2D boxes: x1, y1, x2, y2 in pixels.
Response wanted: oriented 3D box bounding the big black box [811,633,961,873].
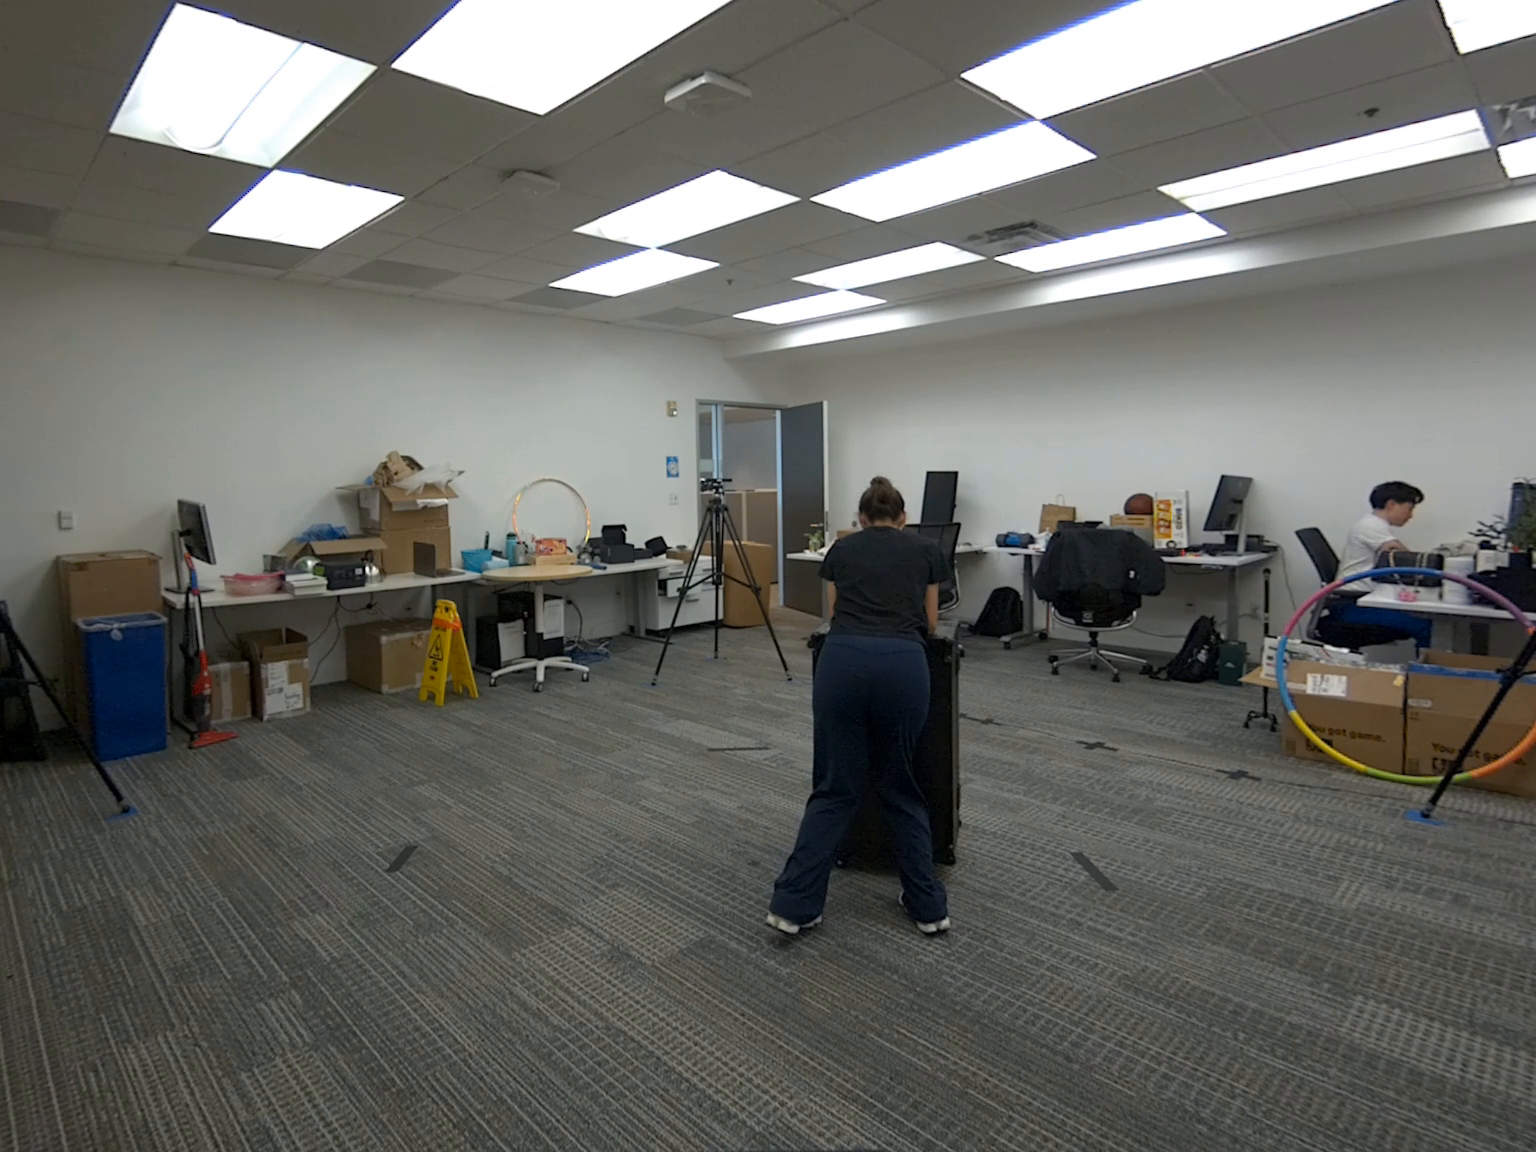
[{"bbox_3d":[0.429,0.550,3.131,0.530,0.859,0.391,1,3,17],"label":"big black box"}]
